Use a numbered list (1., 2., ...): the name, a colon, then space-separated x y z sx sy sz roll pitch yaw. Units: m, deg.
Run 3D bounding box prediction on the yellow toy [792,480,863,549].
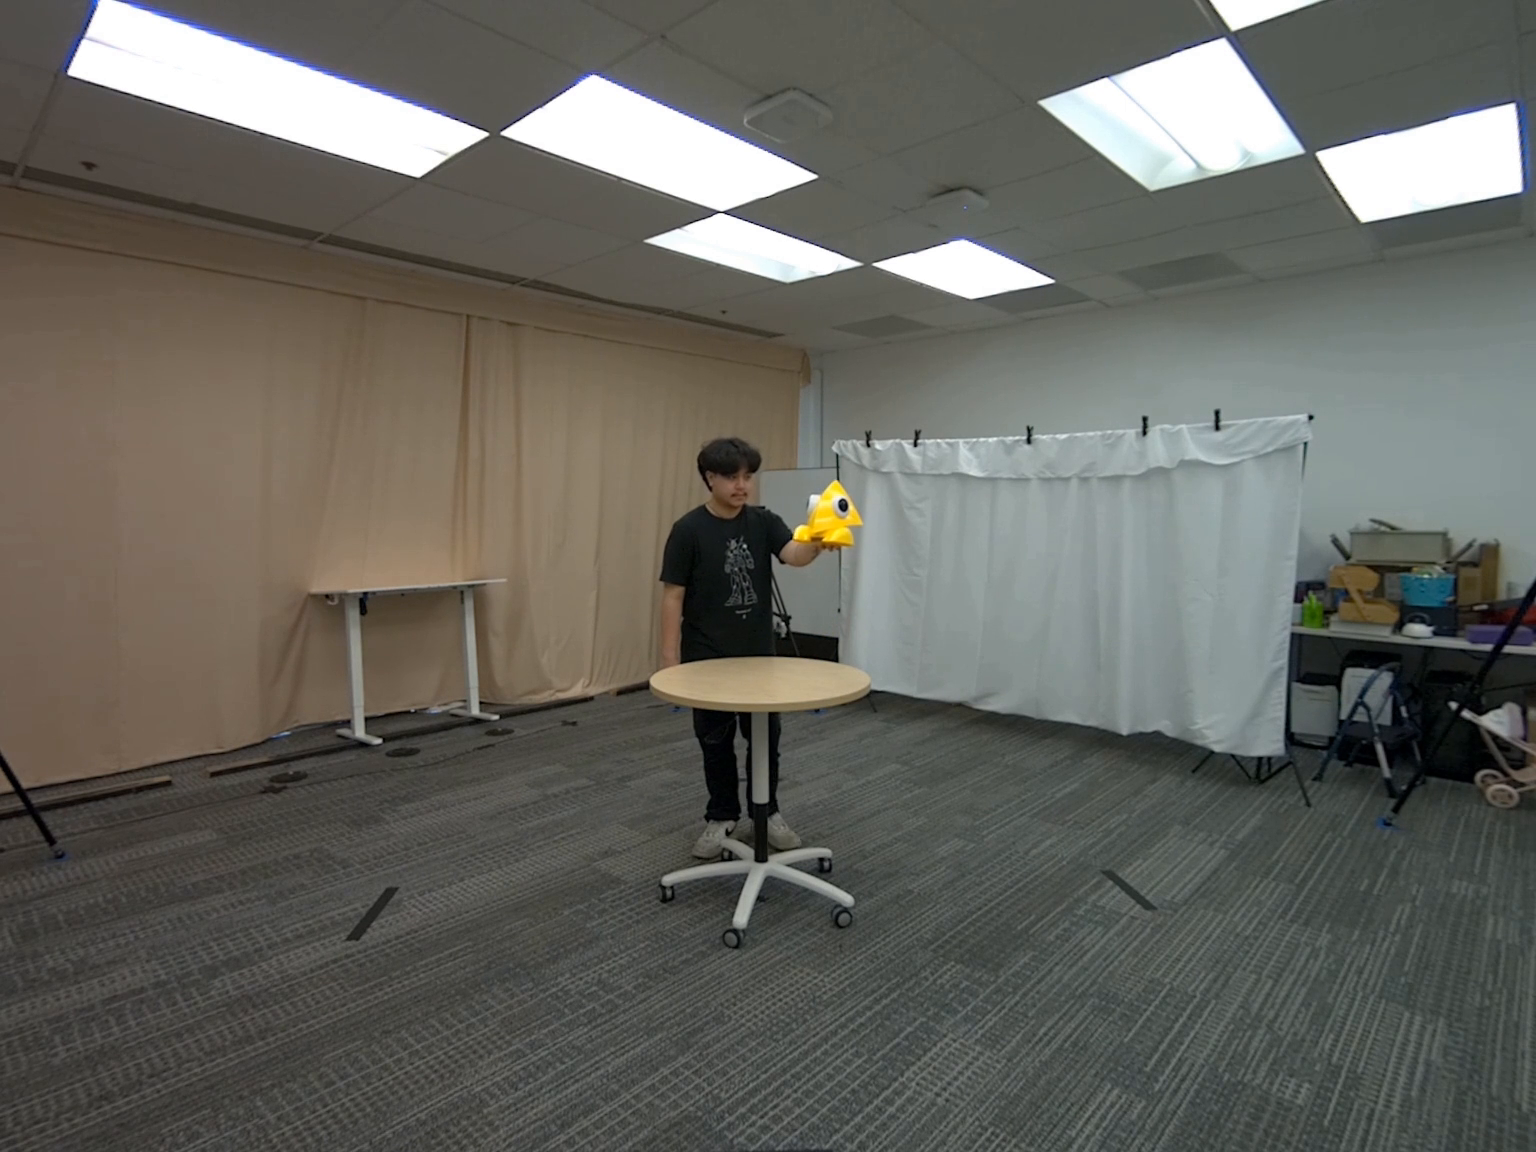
1. yellow toy: 0.211 -0.224 2.879 0.211 0.231 0.187 5 -3 29
